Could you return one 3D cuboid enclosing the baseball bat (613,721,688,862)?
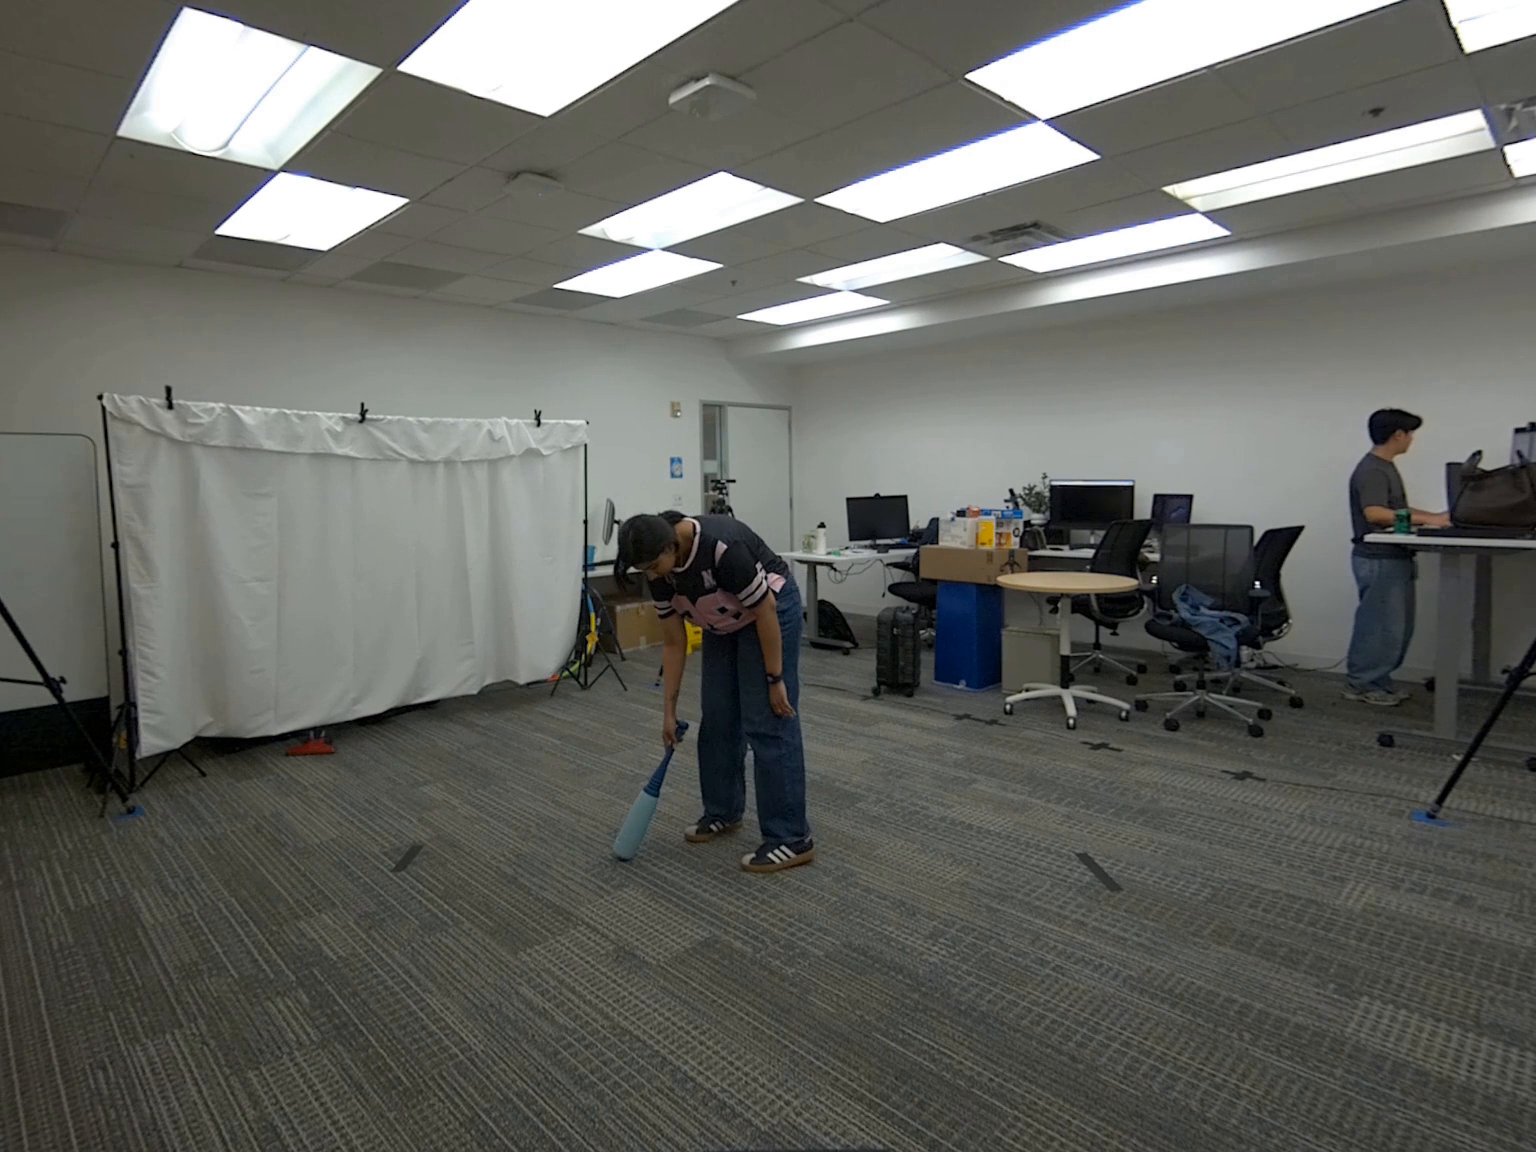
[{"bbox_3d":[-0.422,0.799,3.179,0.089,0.543,0.089,26,-2,-1],"label":"baseball bat"}]
